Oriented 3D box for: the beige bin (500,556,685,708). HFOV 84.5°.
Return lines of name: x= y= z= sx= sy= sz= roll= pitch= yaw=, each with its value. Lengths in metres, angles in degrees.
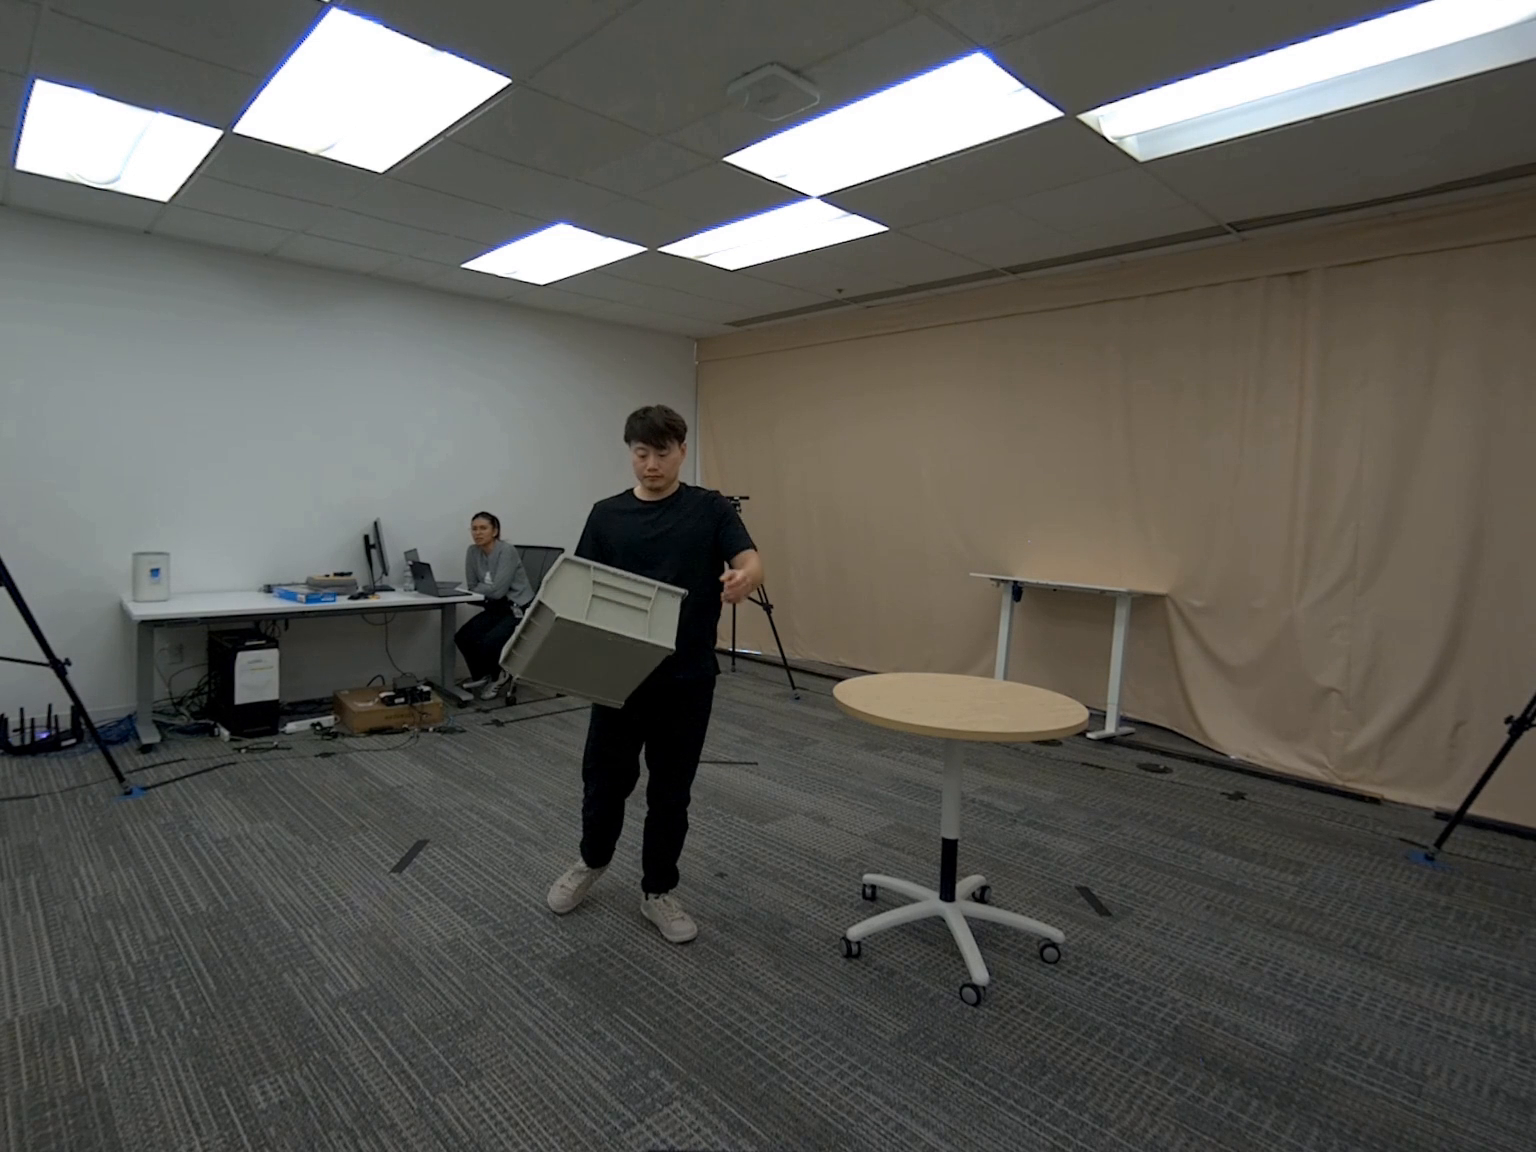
beige bin: x=-0.495 y=0.165 z=2.256 sx=0.370 sy=0.192 sz=0.422 roll=20 pitch=-38 yaw=-20
